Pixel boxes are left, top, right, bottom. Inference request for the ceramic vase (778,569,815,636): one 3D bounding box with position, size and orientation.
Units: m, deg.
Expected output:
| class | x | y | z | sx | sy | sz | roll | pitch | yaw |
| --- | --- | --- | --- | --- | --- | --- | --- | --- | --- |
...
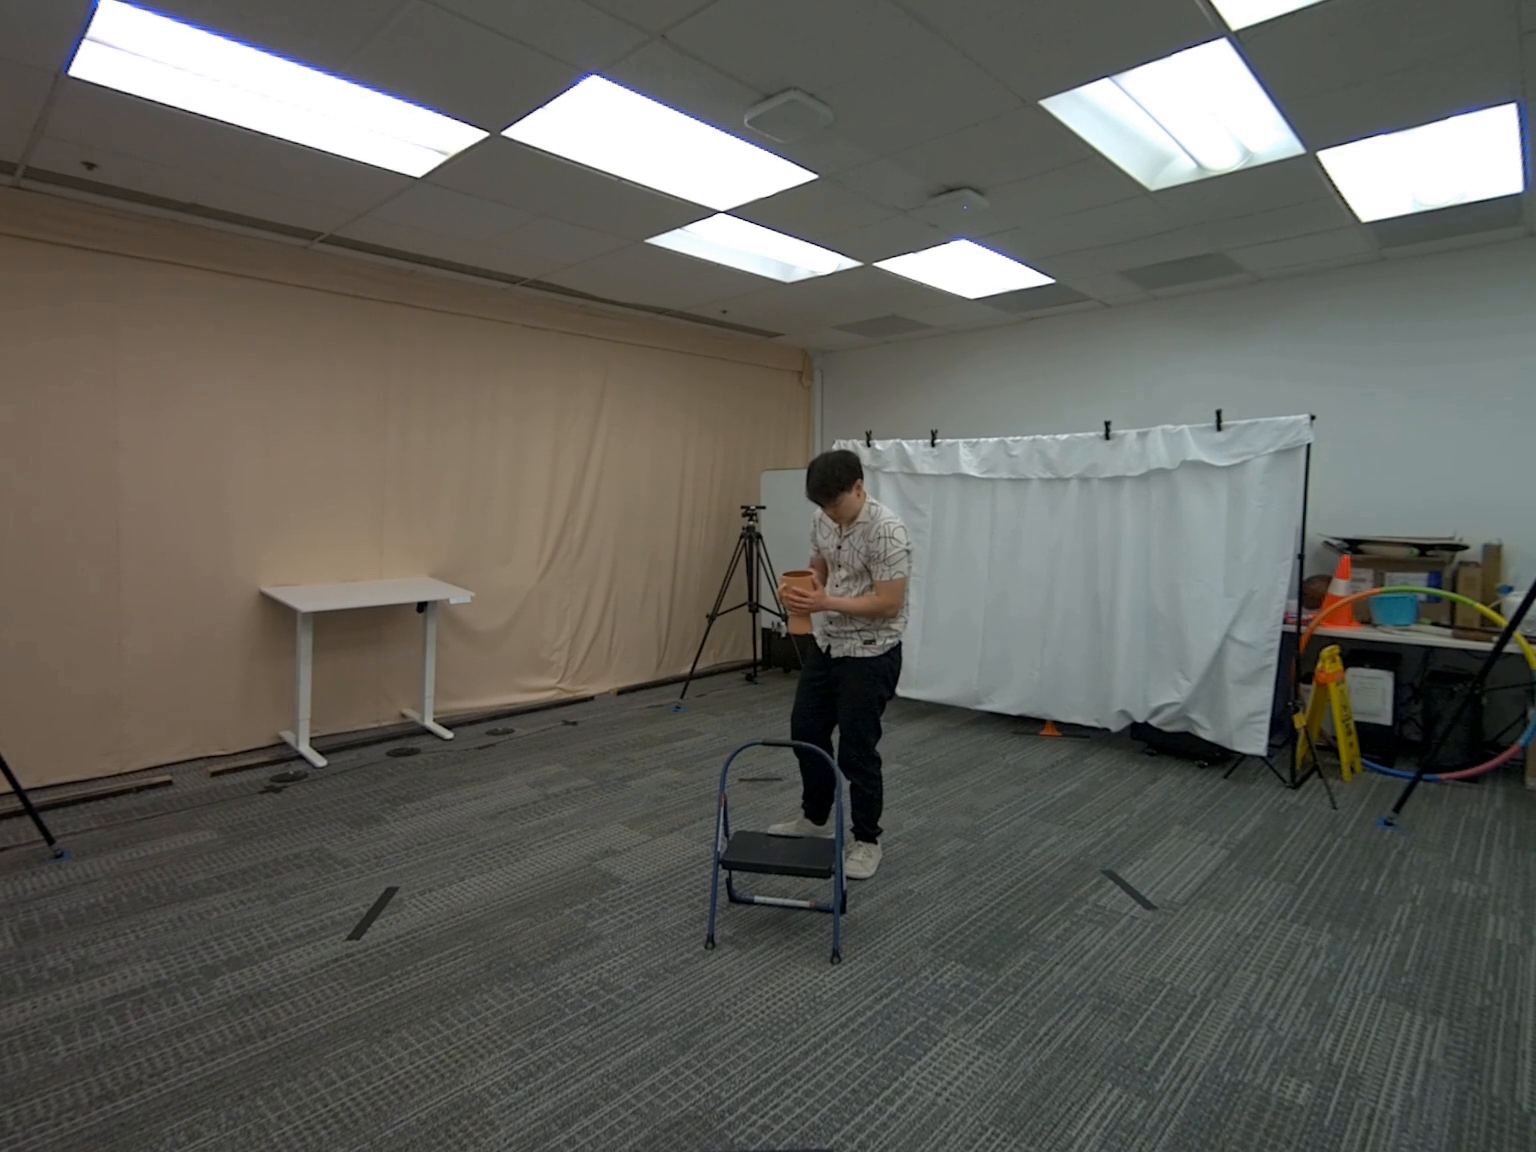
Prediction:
| class | x | y | z | sx | sy | sz | roll | pitch | yaw |
| --- | --- | --- | --- | --- | --- | --- | --- | --- | --- |
| ceramic vase | 0.127 | 0.103 | 3.183 | 0.159 | 0.218 | 0.135 | -4 | 11 | 0 |
